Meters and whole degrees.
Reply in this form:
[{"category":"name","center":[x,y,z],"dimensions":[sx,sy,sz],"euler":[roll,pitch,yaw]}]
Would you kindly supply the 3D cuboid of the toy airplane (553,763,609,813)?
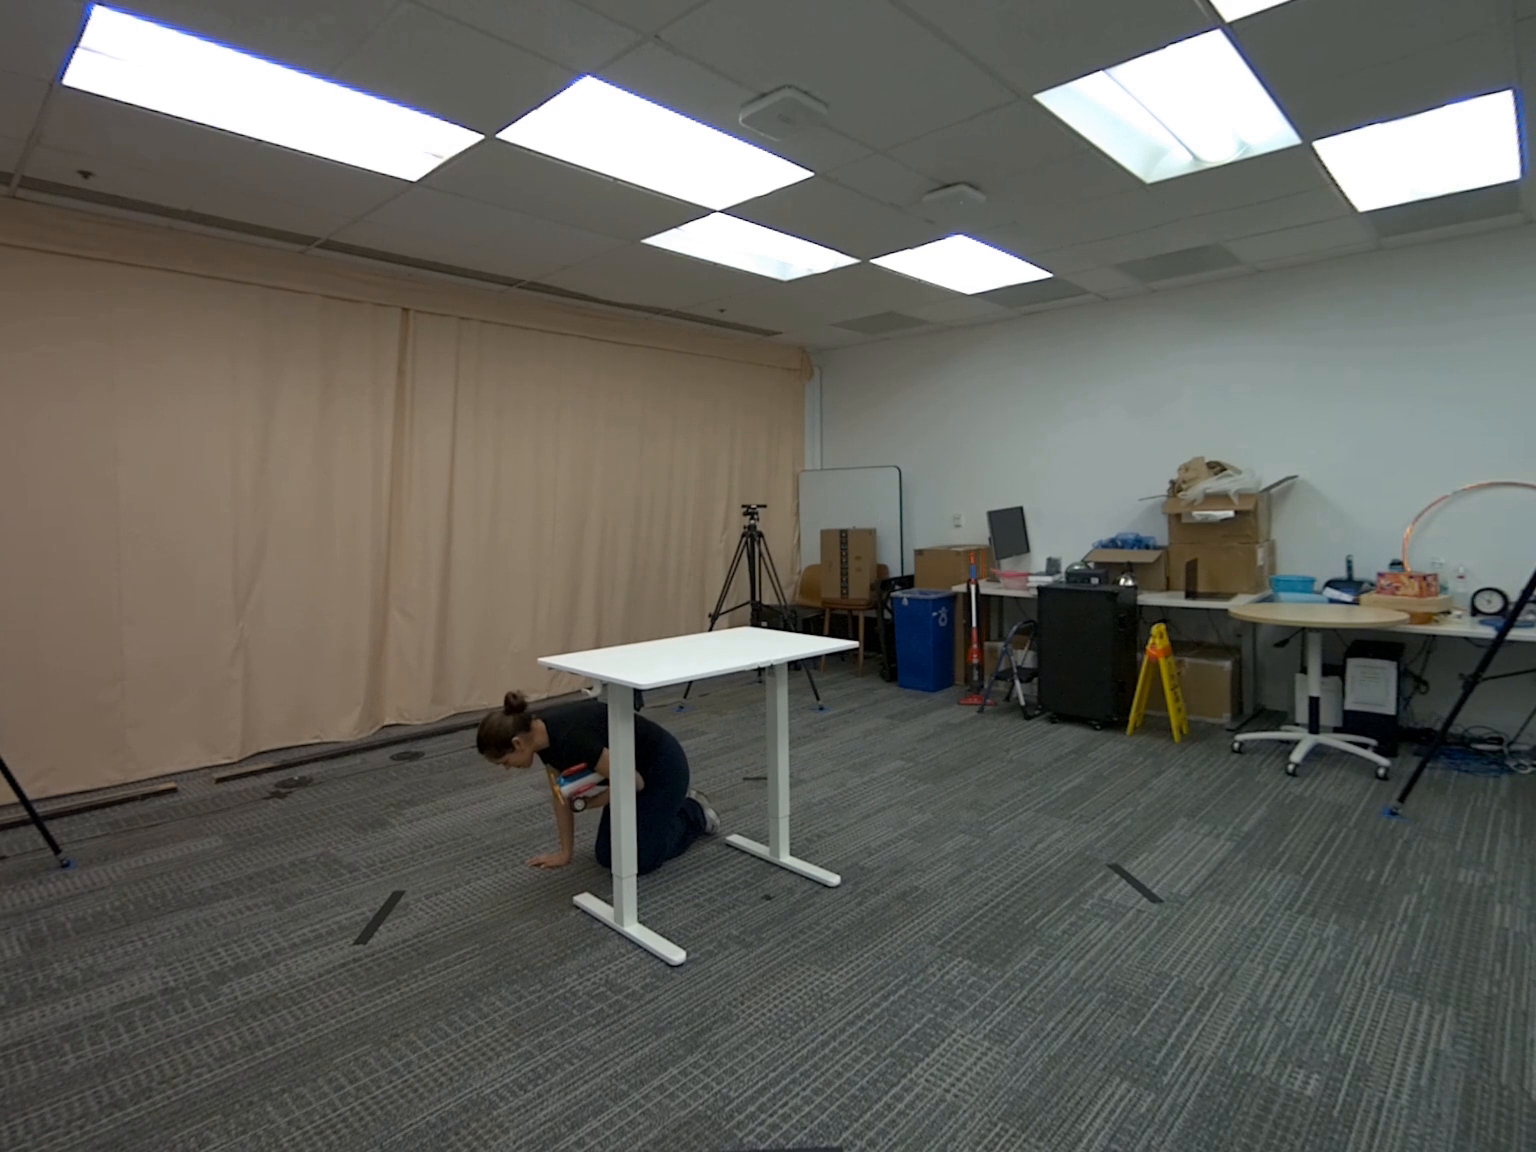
[{"category":"toy airplane","center":[-0.658,0.742,3.101],"dimensions":[0.254,0.157,0.254],"euler":[-37,-3,37]}]
